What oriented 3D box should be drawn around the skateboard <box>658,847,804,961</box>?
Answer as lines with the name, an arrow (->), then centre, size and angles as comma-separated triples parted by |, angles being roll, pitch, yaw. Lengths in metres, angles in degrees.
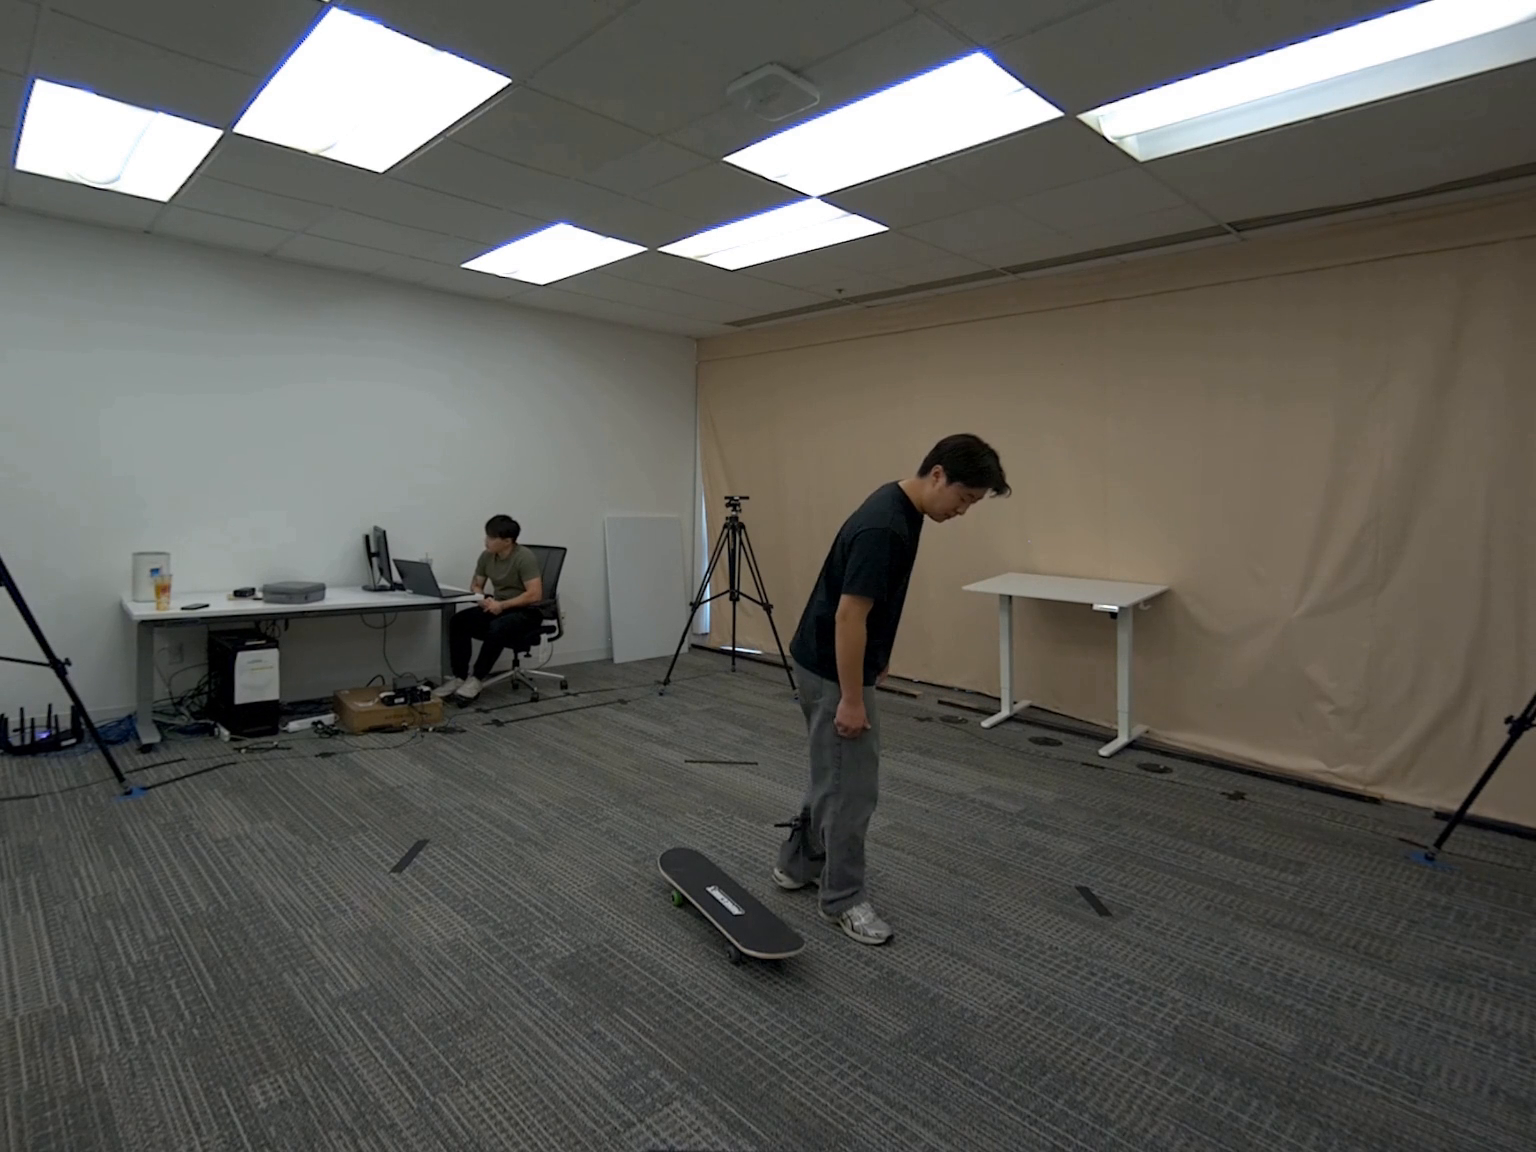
skateboard -> -0.142, 1.084, 2.727 | 0.189, 0.110, 0.803 | -2, 6, -31
